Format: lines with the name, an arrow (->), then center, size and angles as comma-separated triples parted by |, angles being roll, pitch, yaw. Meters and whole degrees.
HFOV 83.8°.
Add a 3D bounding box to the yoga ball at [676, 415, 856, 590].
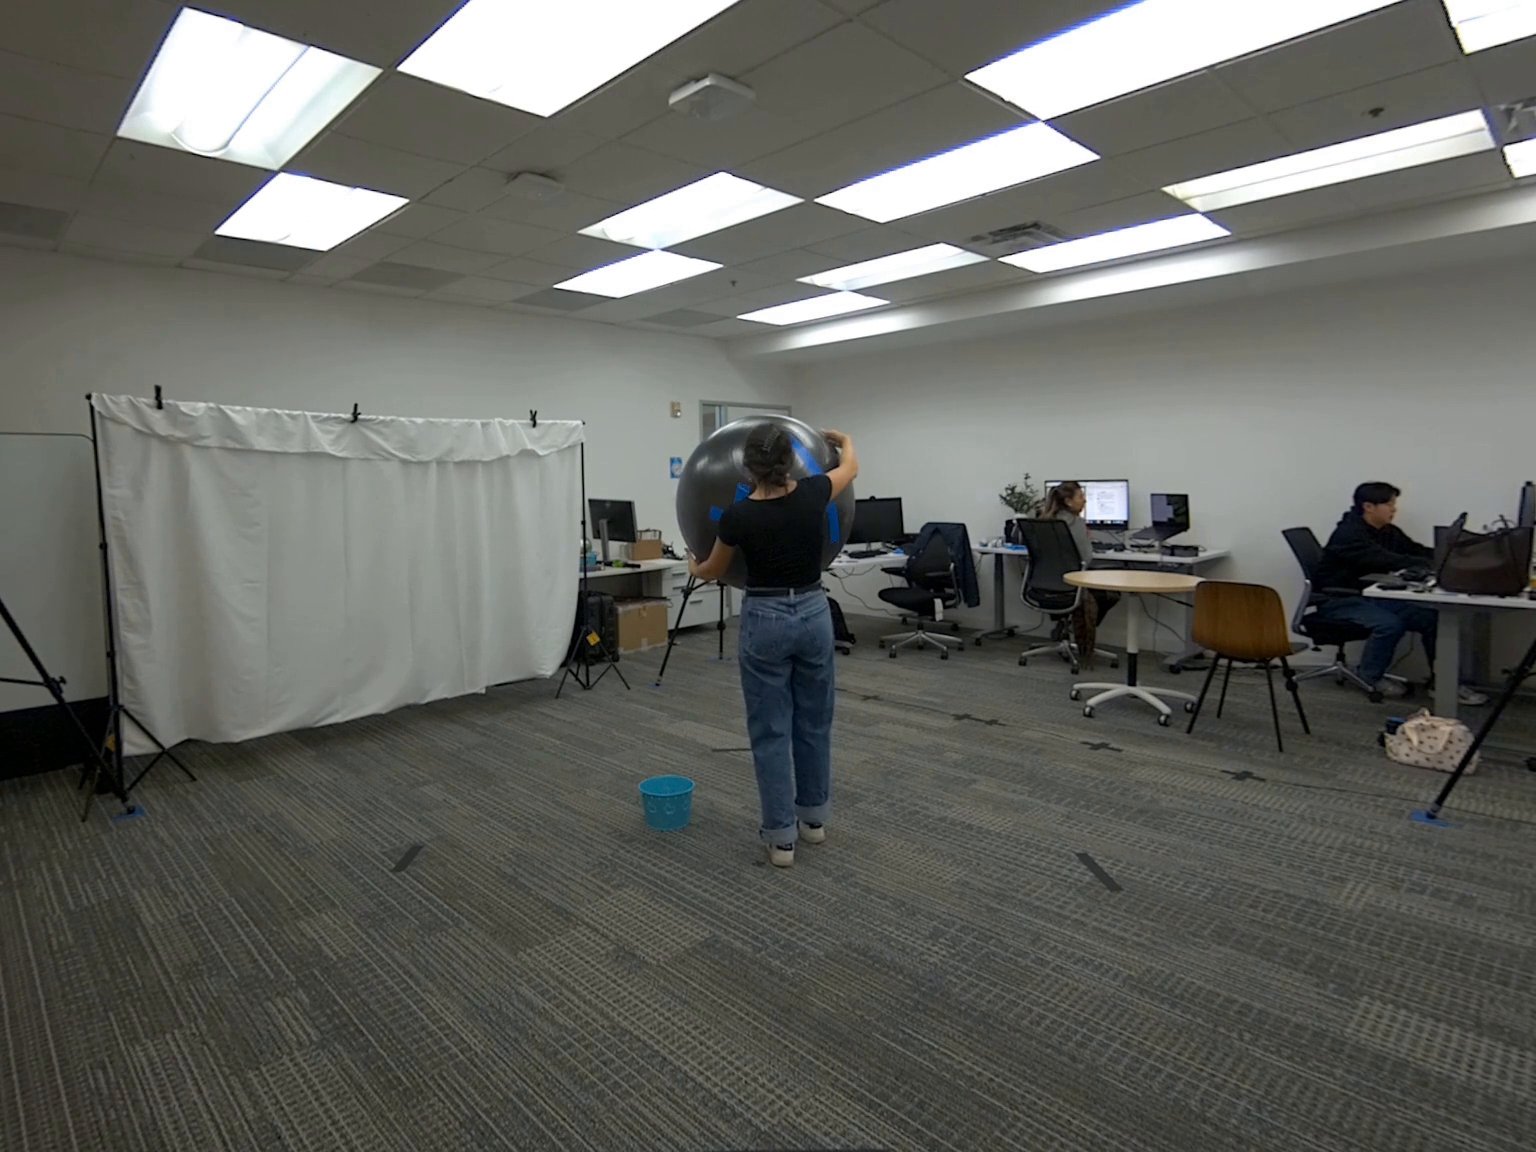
yoga ball -> -0.013, -0.305, 3.653 | 0.757, 0.755, 0.762 | -1, 5, -2
